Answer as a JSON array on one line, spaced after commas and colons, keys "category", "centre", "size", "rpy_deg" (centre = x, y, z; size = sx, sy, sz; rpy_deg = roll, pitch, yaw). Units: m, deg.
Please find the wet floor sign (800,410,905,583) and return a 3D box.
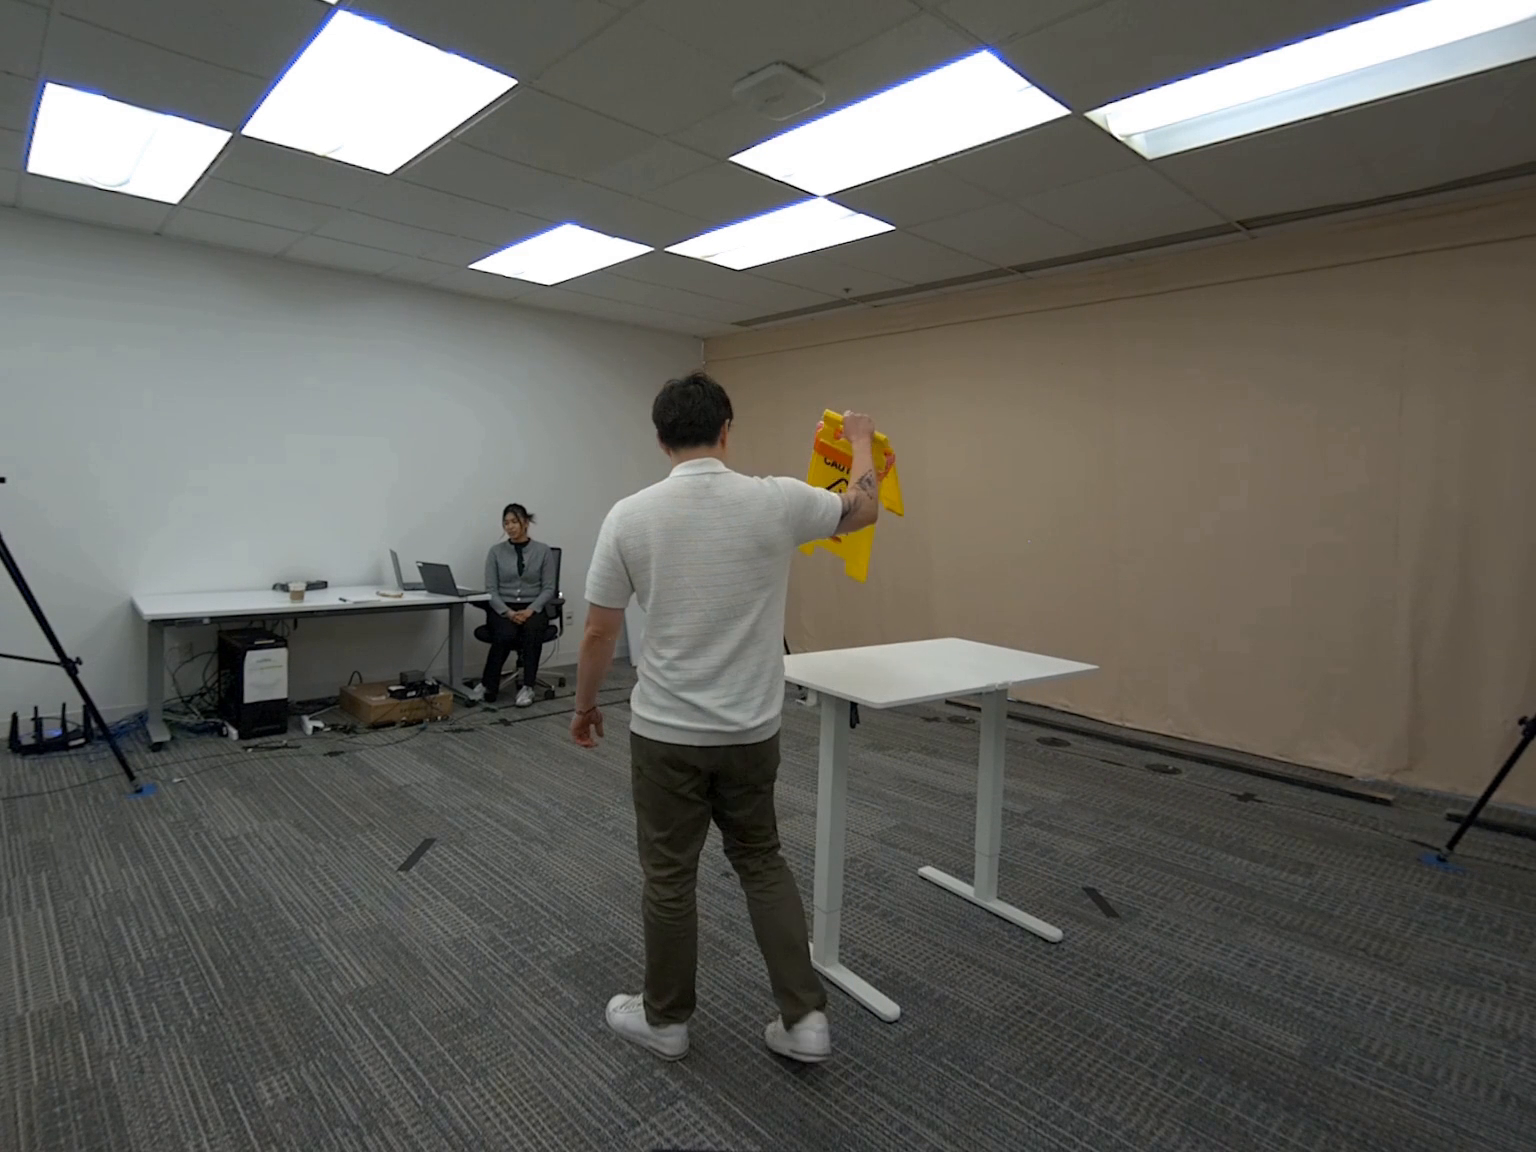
[{"category": "wet floor sign", "centre": [0.254, -0.285, 2.616], "size": [0.287, 0.290, 0.633], "rpy_deg": [29, -22, 16]}]
